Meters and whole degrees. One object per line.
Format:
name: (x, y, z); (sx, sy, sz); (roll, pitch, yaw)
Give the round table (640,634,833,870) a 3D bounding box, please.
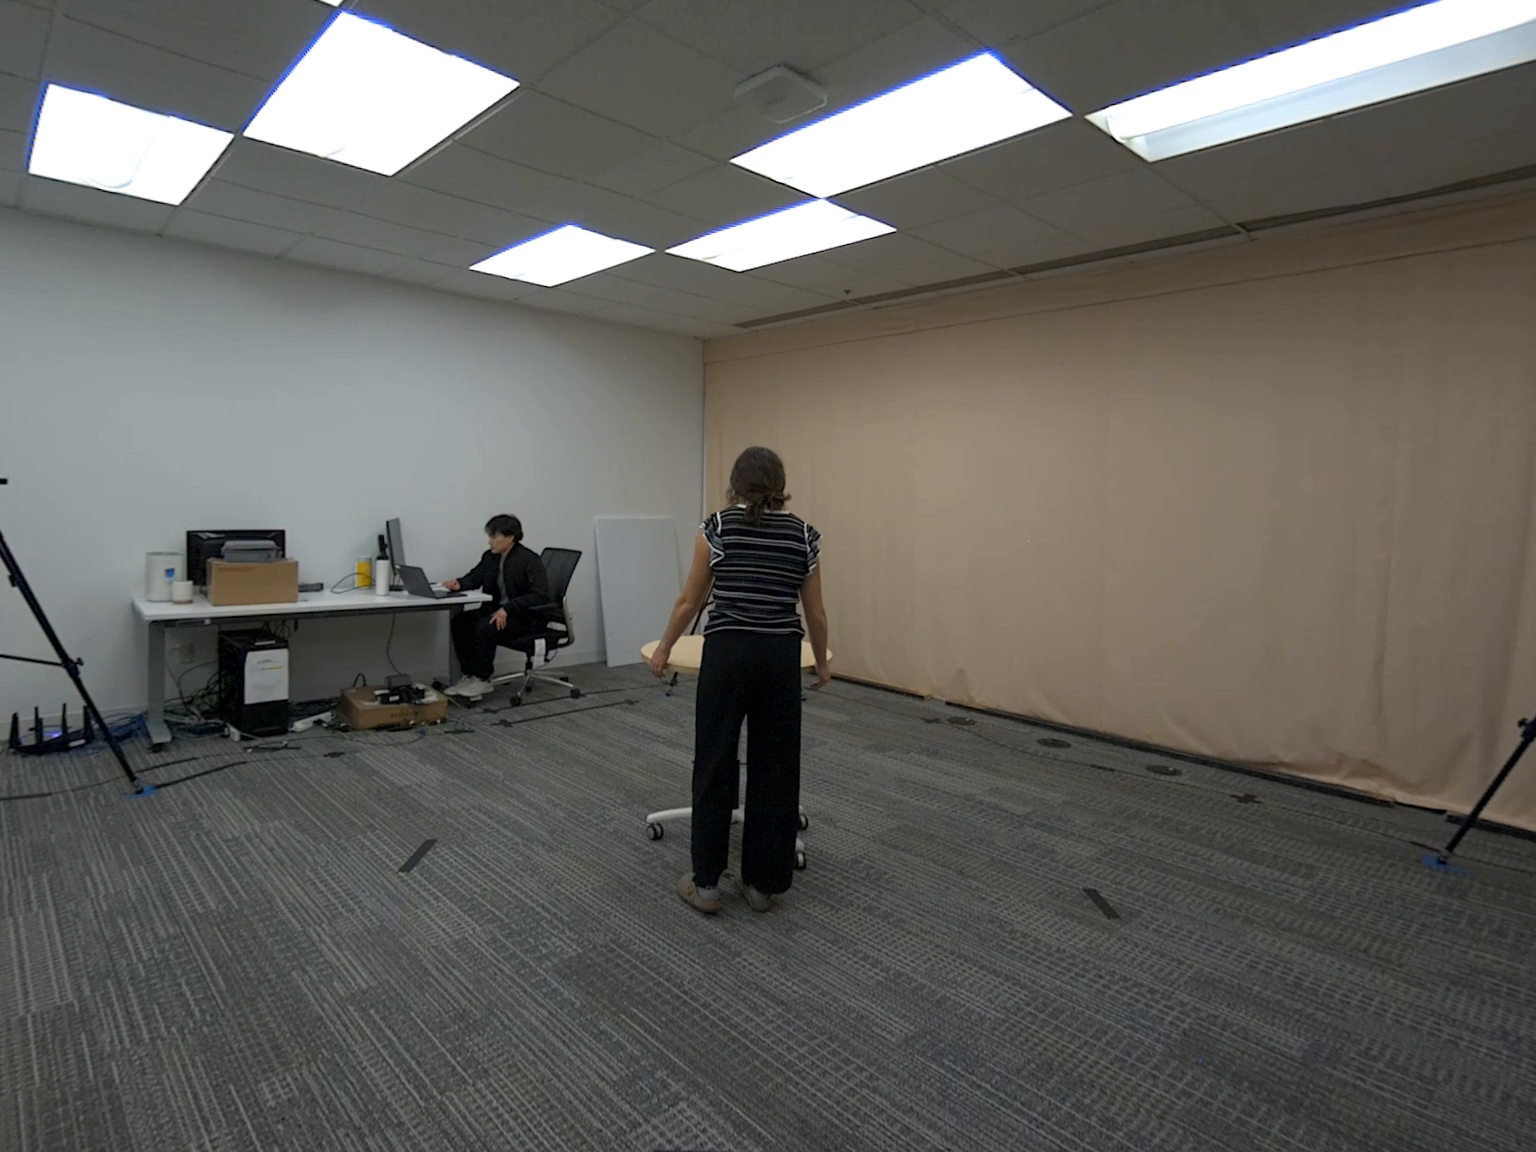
round table: (-0.135, 0.695, 3.401); (0.763, 0.792, 0.766); (1, 4, -1)
